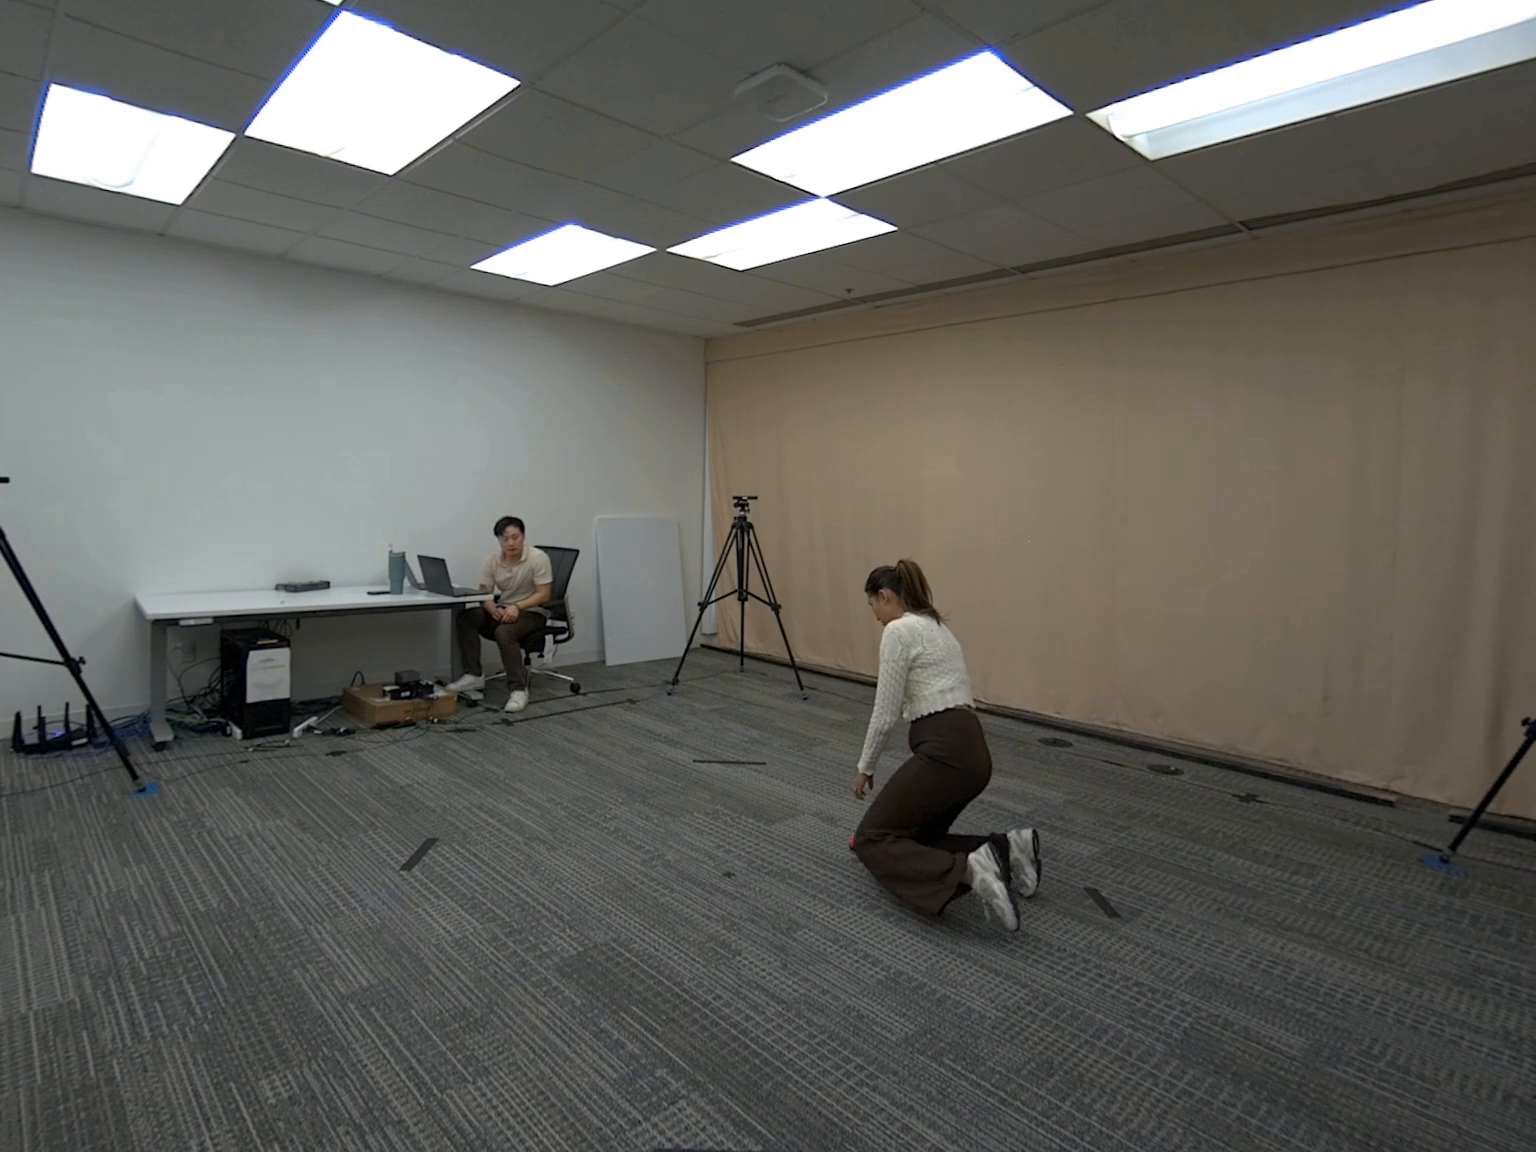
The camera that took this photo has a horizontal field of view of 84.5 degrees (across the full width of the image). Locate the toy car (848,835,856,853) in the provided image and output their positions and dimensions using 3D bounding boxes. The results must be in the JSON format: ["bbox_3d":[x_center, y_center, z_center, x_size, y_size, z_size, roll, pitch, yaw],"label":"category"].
[{"bbox_3d":[0.440,1.062,3.397,0.134,0.082,0.250,7,18,43],"label":"toy car"}]
